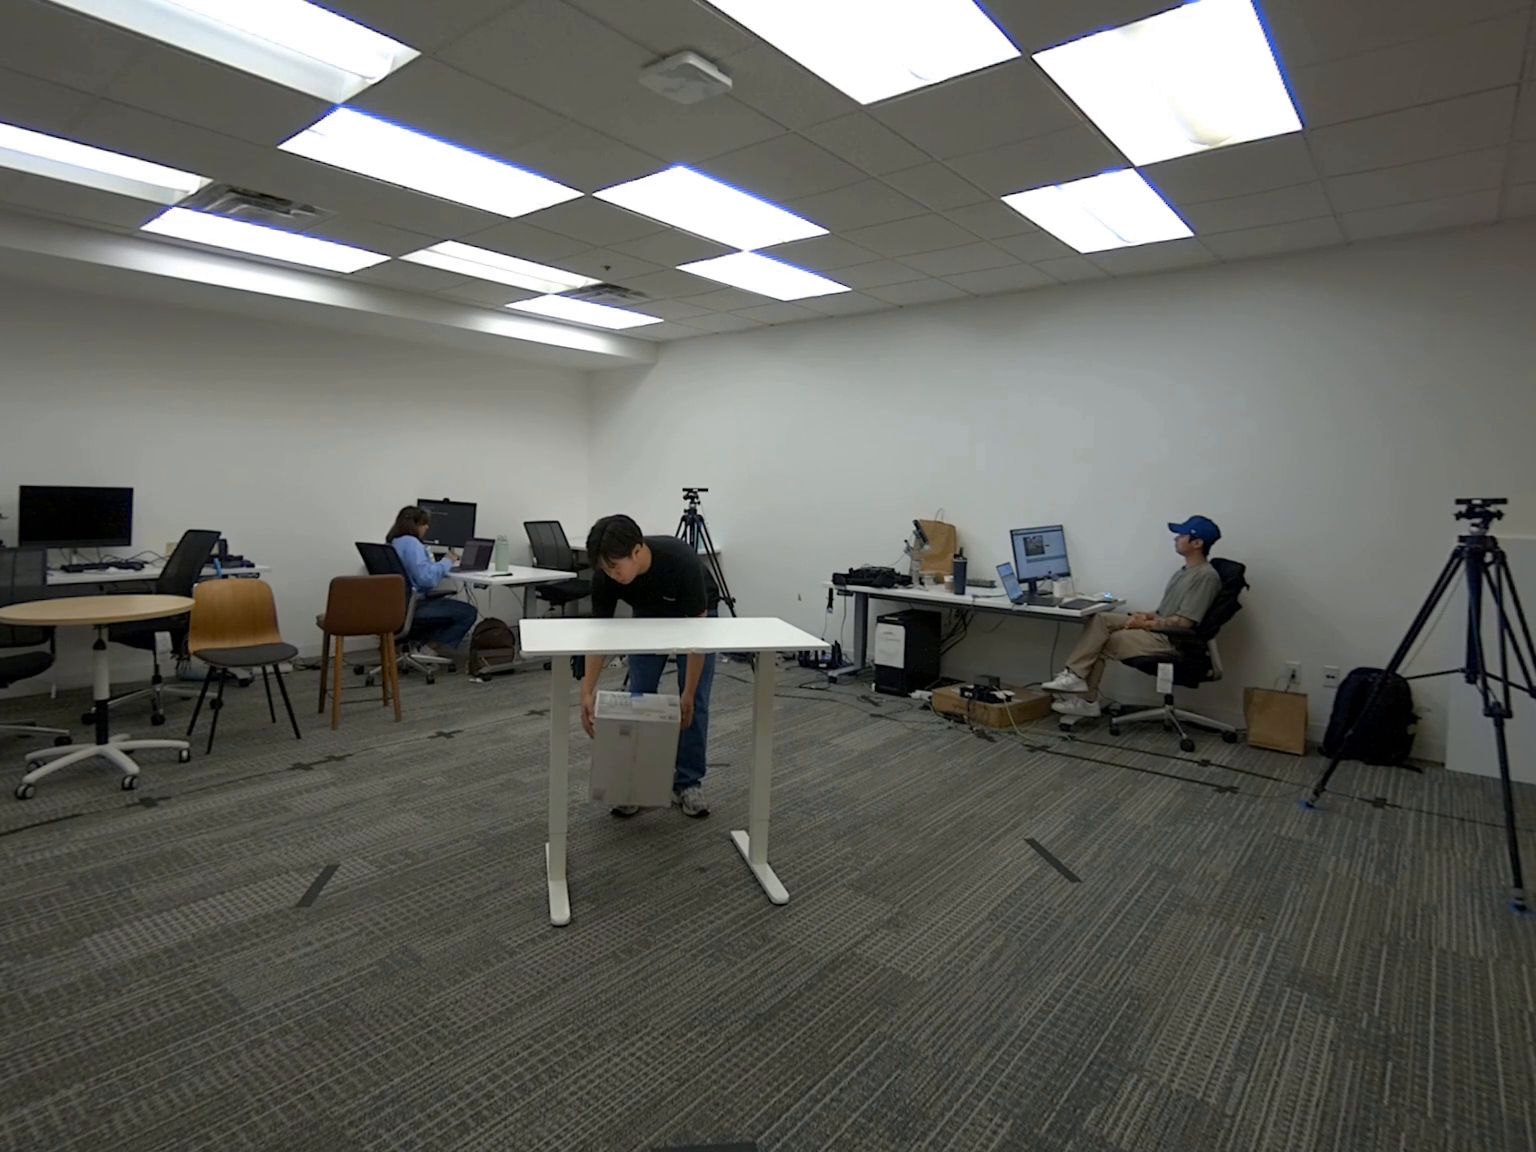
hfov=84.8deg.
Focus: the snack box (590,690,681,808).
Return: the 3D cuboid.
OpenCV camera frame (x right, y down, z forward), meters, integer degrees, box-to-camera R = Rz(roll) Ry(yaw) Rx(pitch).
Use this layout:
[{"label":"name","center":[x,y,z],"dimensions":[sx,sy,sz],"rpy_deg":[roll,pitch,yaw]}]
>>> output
[{"label":"snack box","center":[-0.558,0.705,3.454],"dimensions":[0.337,0.399,0.211],"rpy_deg":[5,21,-8]}]
